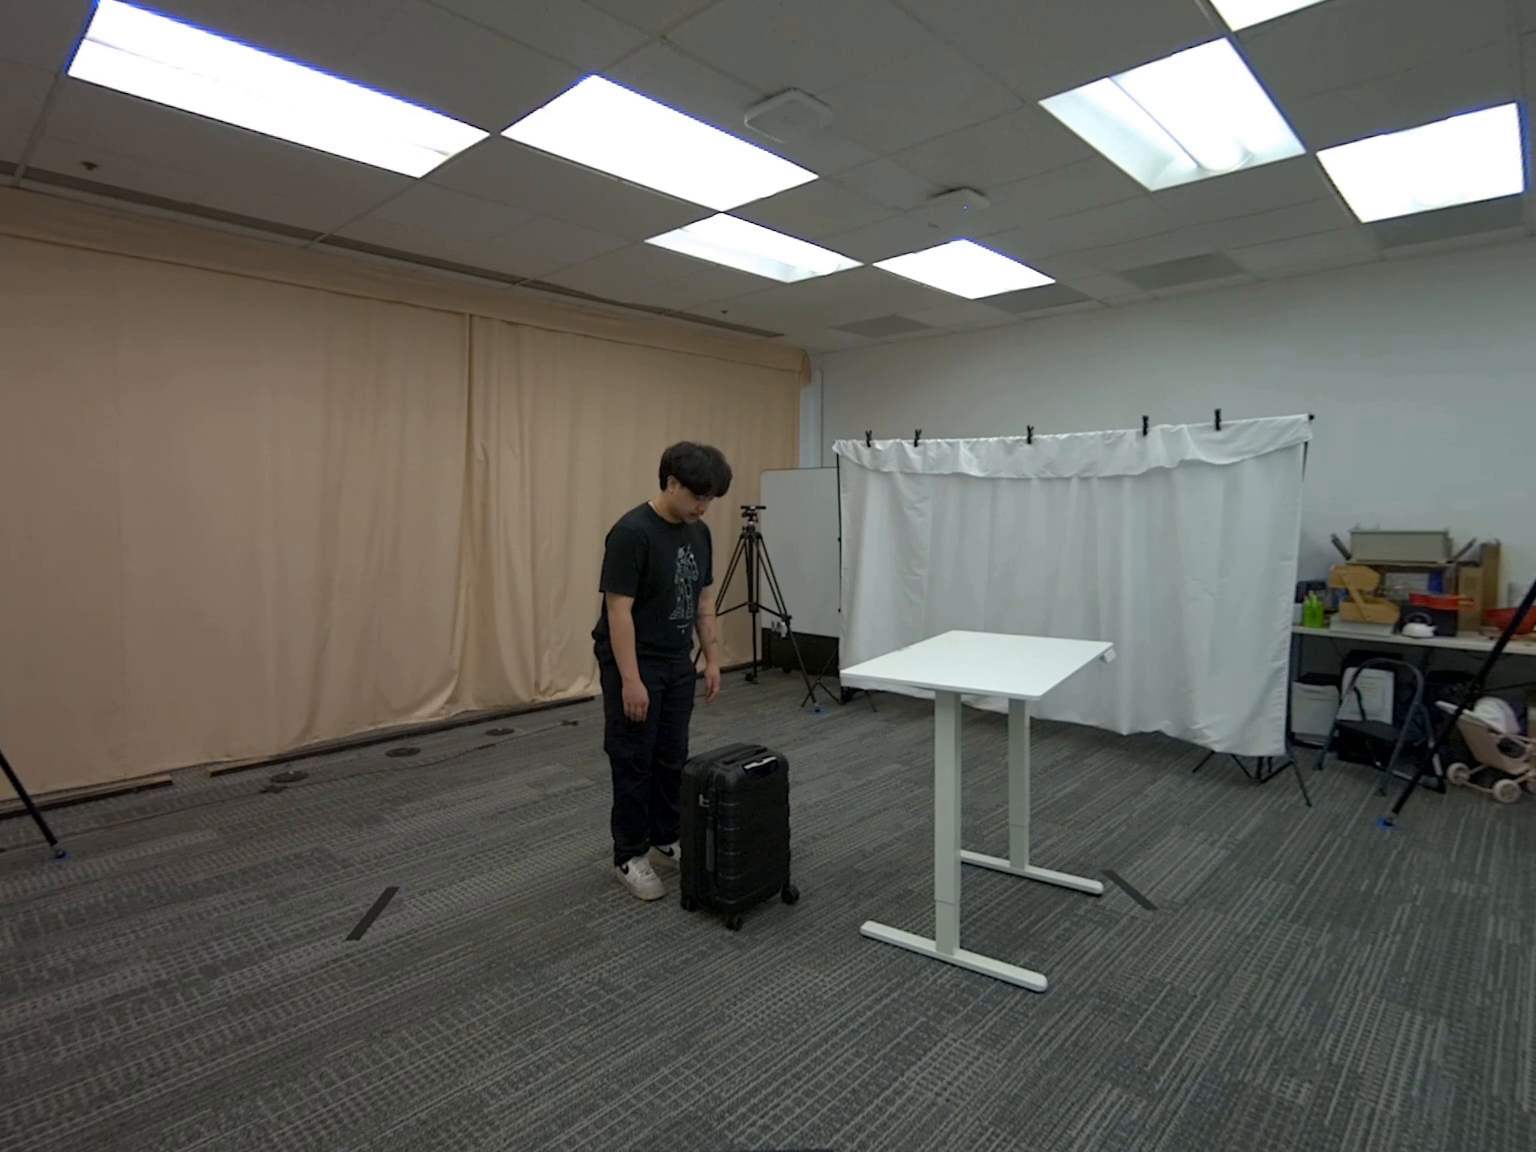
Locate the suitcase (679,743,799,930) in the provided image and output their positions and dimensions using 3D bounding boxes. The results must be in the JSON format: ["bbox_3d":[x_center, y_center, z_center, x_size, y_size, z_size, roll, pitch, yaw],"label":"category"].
[{"bbox_3d":[-0.107,0.878,2.915,0.256,0.548,0.364,3,4,41],"label":"suitcase"}]
